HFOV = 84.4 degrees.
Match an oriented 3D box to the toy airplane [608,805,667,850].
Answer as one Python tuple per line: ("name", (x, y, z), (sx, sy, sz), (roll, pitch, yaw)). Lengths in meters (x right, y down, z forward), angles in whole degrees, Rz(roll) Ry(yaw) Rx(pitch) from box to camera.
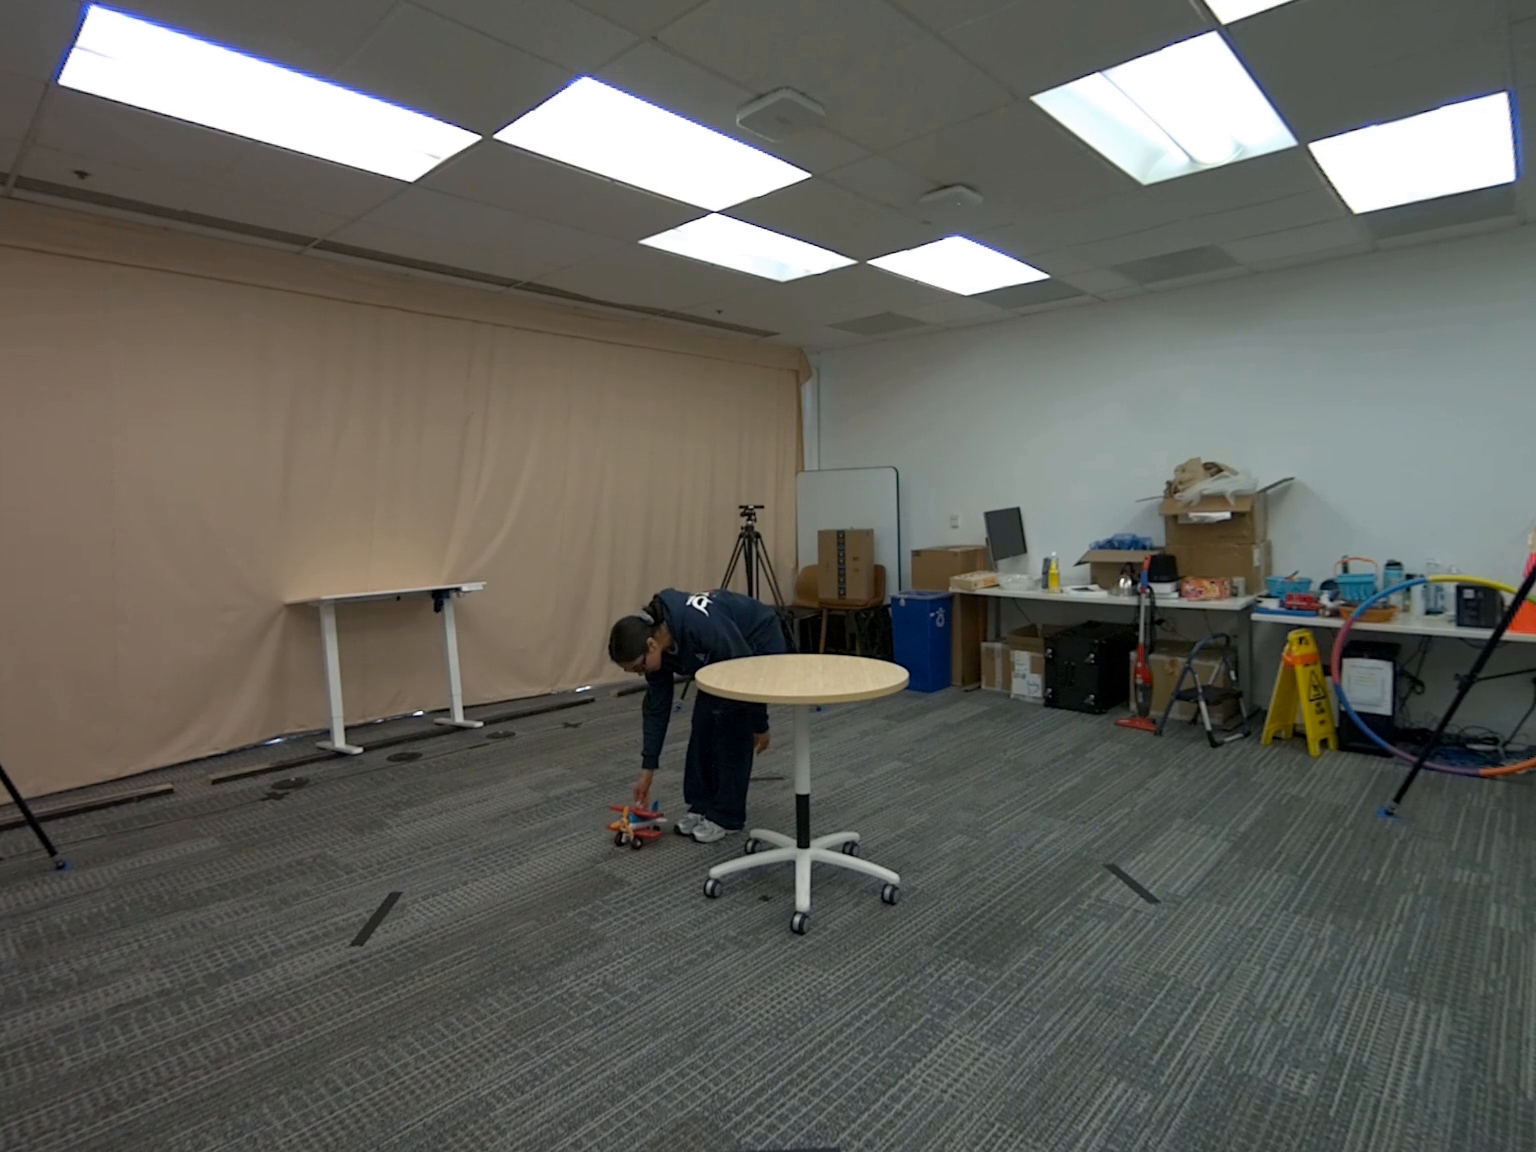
("toy airplane", (-0.558, 1.035, 3.536), (0.251, 0.156, 0.260), (-1, 5, 0))
